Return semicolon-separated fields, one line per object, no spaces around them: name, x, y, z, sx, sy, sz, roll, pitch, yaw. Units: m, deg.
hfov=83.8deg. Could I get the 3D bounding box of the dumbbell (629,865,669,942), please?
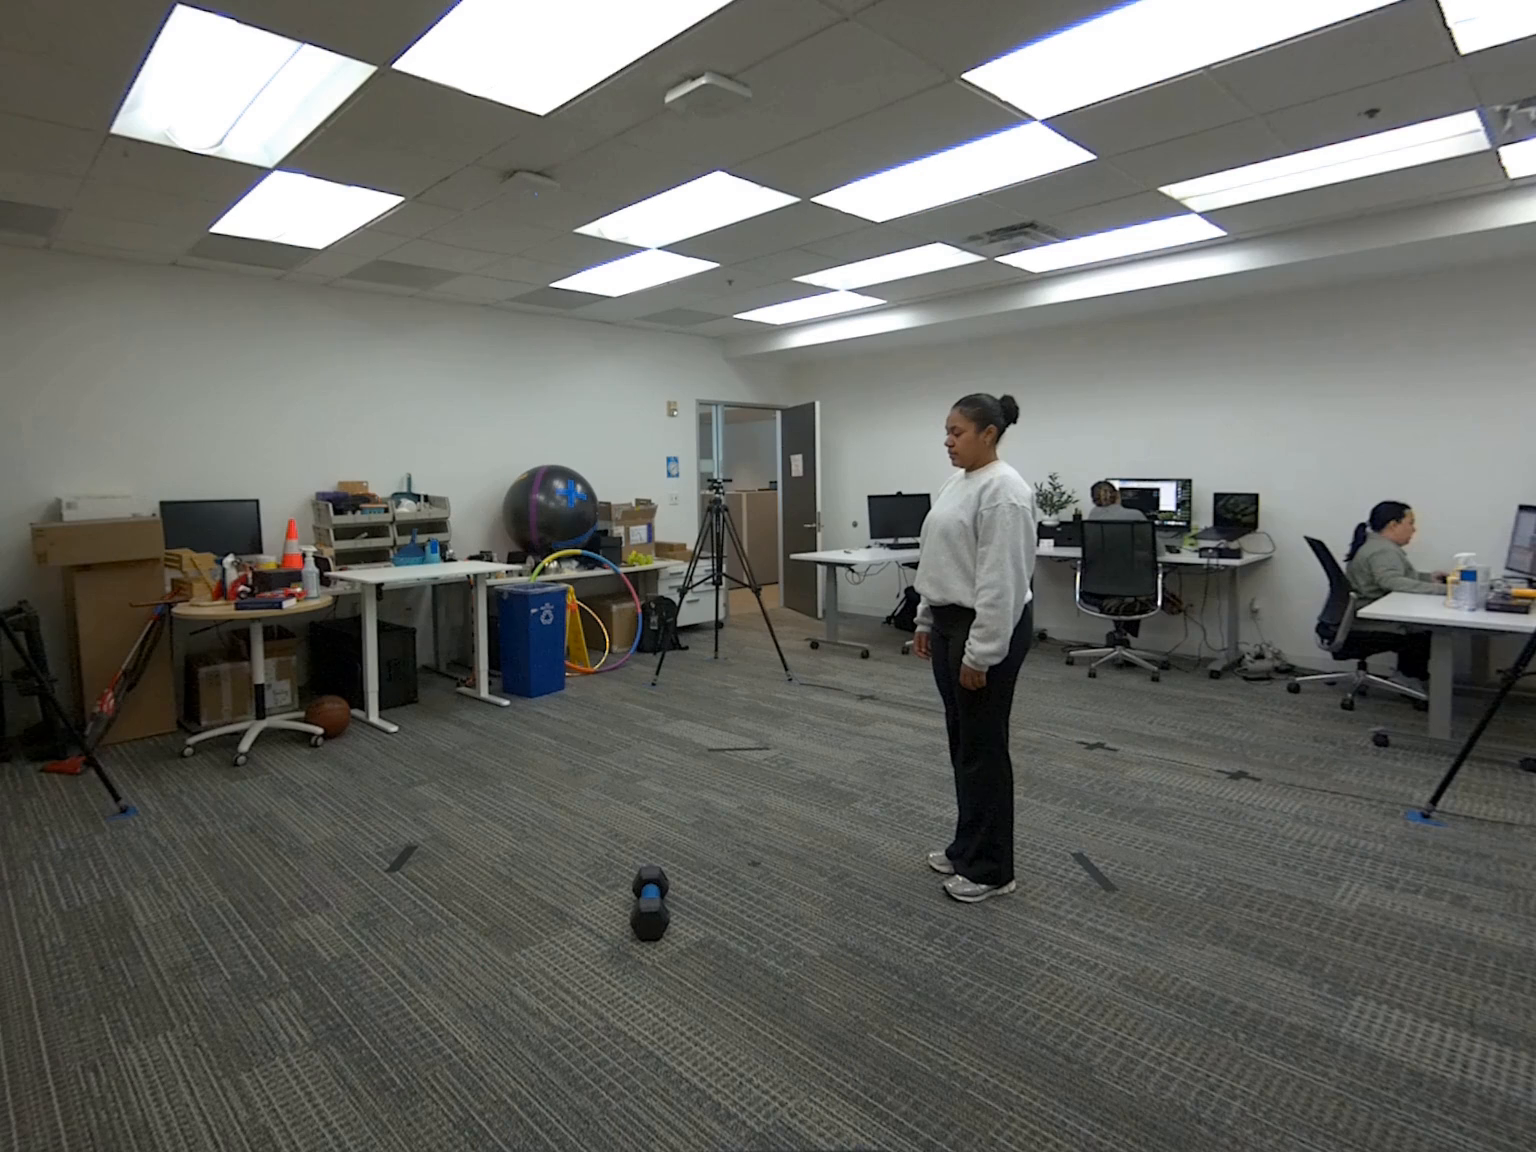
dumbbell;-0.369;1.042;2.728;0.108;0.122;0.296;-31;8;-3
